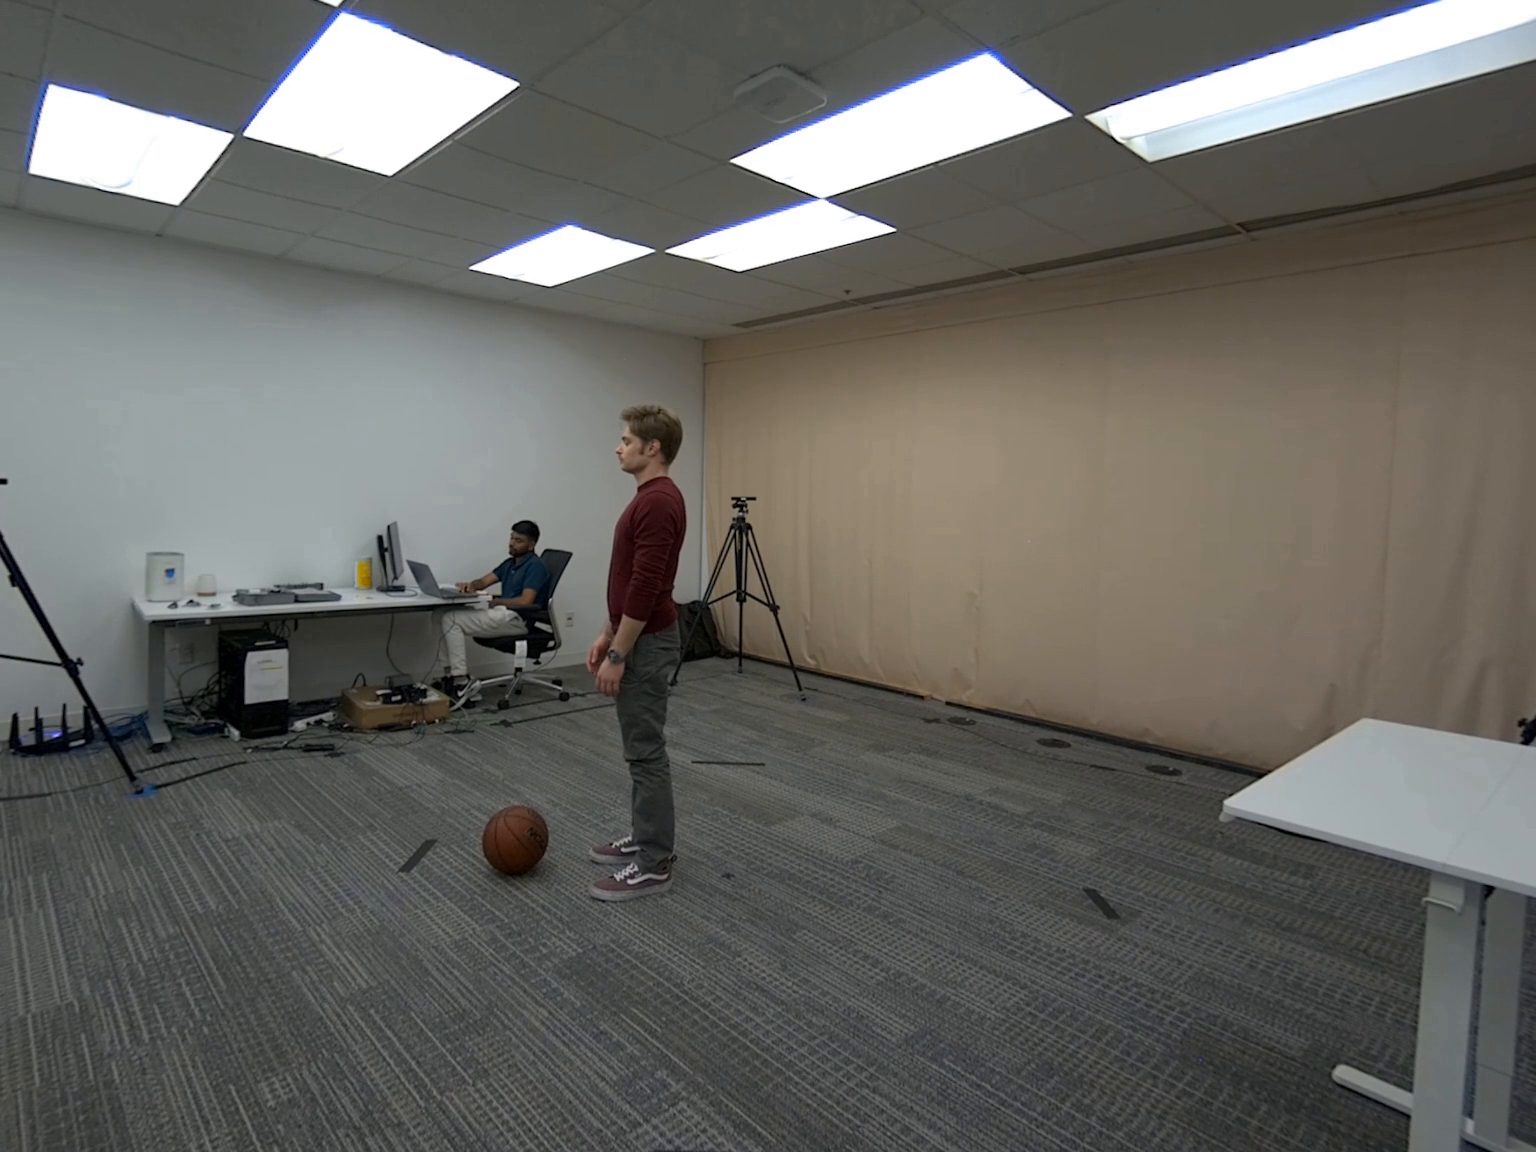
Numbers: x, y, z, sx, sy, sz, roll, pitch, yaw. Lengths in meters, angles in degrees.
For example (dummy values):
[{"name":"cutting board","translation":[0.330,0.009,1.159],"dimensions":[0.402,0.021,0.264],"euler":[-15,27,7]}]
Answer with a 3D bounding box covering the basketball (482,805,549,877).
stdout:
[{"name":"basketball","translation":[-0.924,0.963,3.102],"dimensions":[0.236,0.235,0.237],"euler":[1,4,-1]}]
